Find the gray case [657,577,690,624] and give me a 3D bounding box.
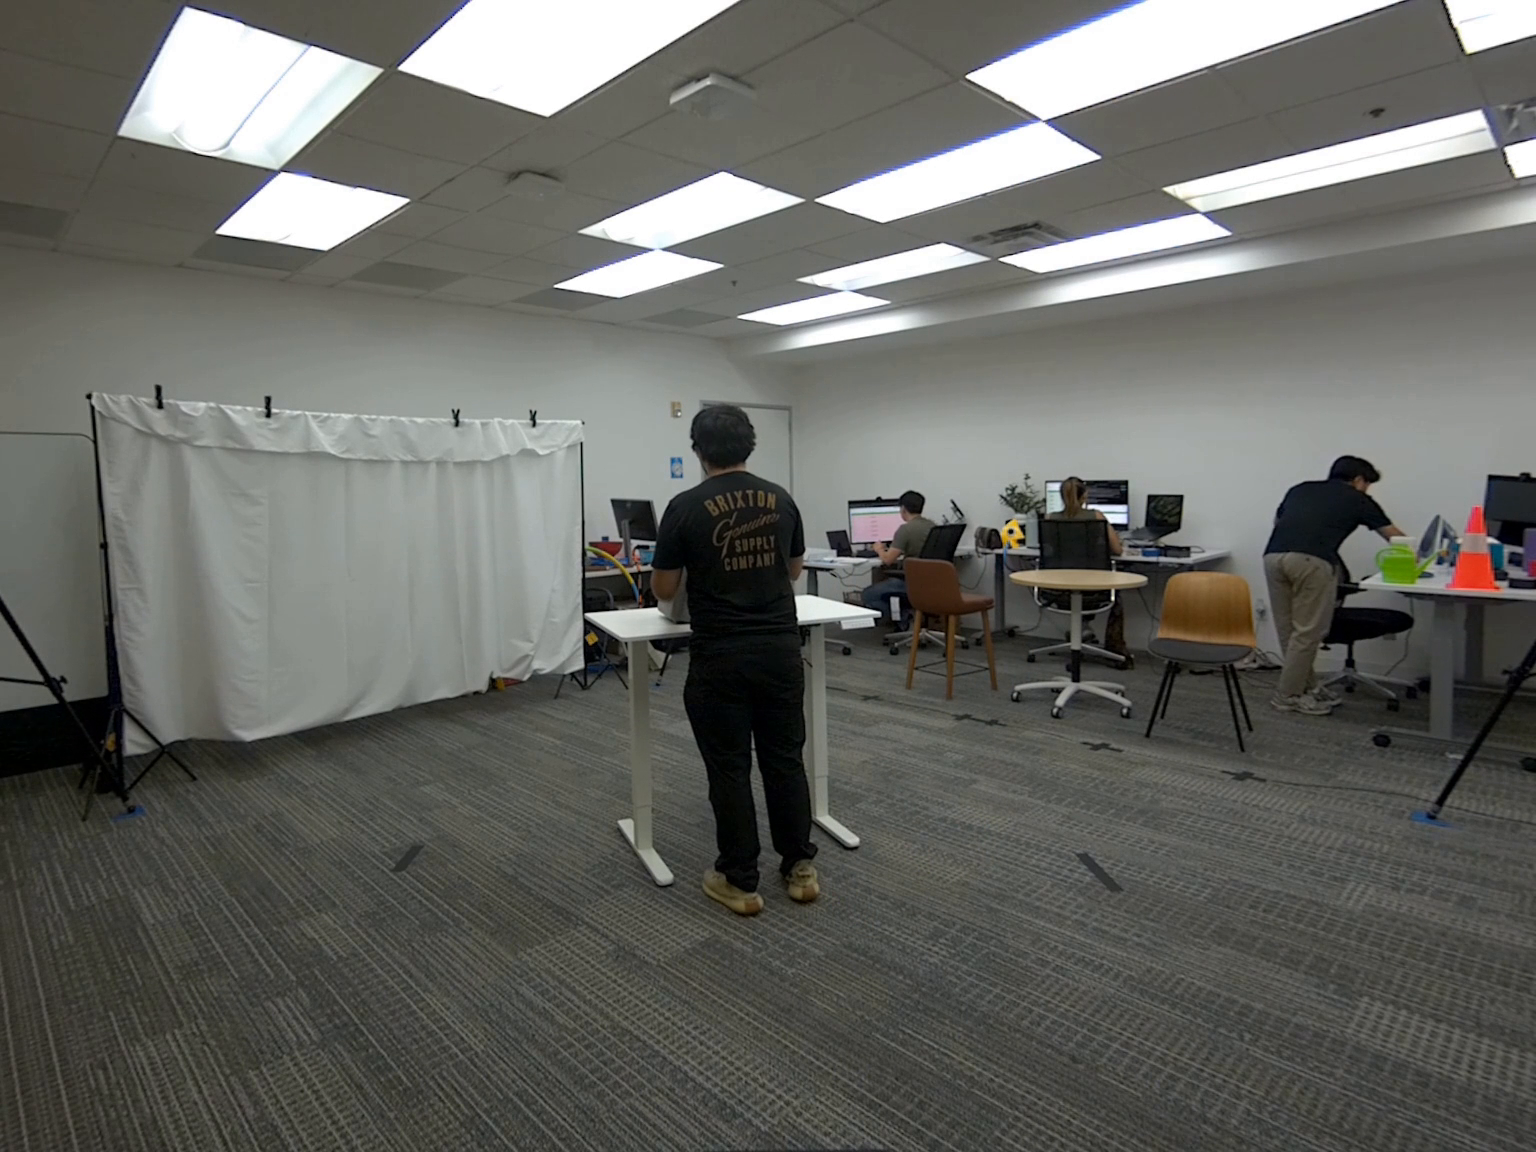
[{"bbox_3d":[-0.312,0.039,3.181,0.102,0.260,0.262,9,1,-19],"label":"gray case"}]
